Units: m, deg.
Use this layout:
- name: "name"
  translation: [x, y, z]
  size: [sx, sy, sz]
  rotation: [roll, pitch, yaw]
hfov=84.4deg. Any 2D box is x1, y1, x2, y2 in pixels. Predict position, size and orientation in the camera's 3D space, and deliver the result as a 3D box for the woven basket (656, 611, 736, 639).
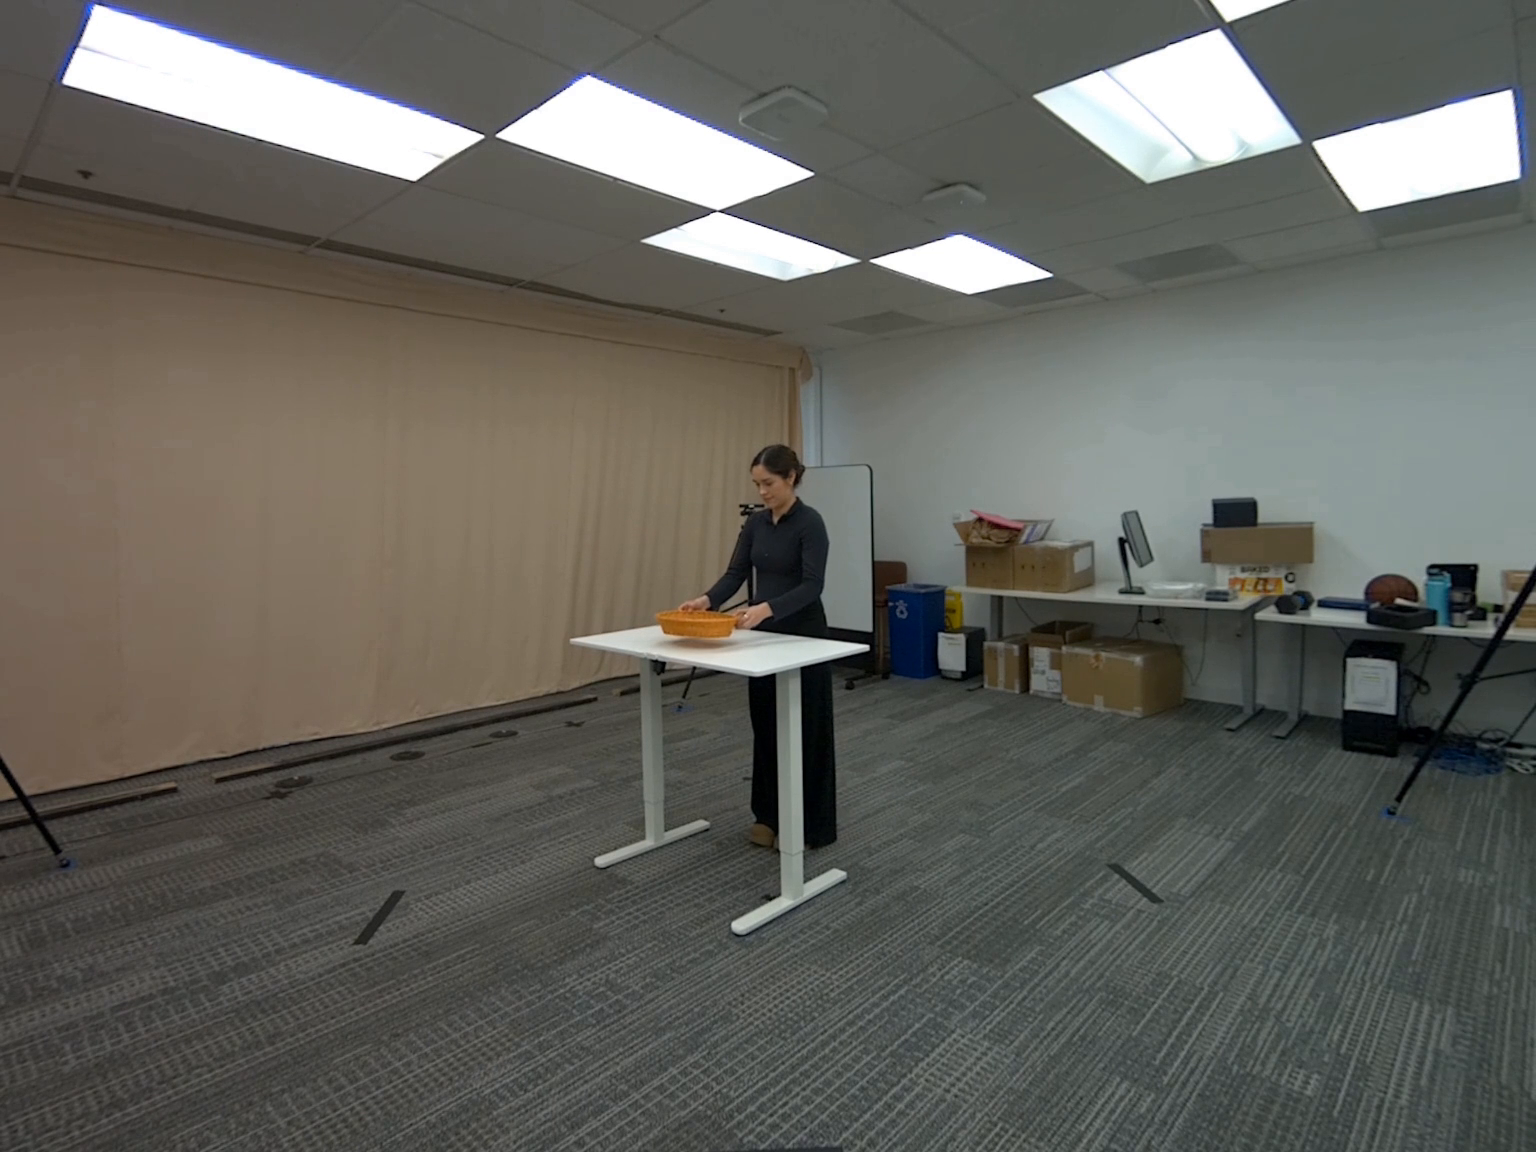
- name: "woven basket"
  translation: [-0.245, 0.181, 3.129]
  size: [0.245, 0.073, 0.362]
  rotation: [-6, 8, -40]
